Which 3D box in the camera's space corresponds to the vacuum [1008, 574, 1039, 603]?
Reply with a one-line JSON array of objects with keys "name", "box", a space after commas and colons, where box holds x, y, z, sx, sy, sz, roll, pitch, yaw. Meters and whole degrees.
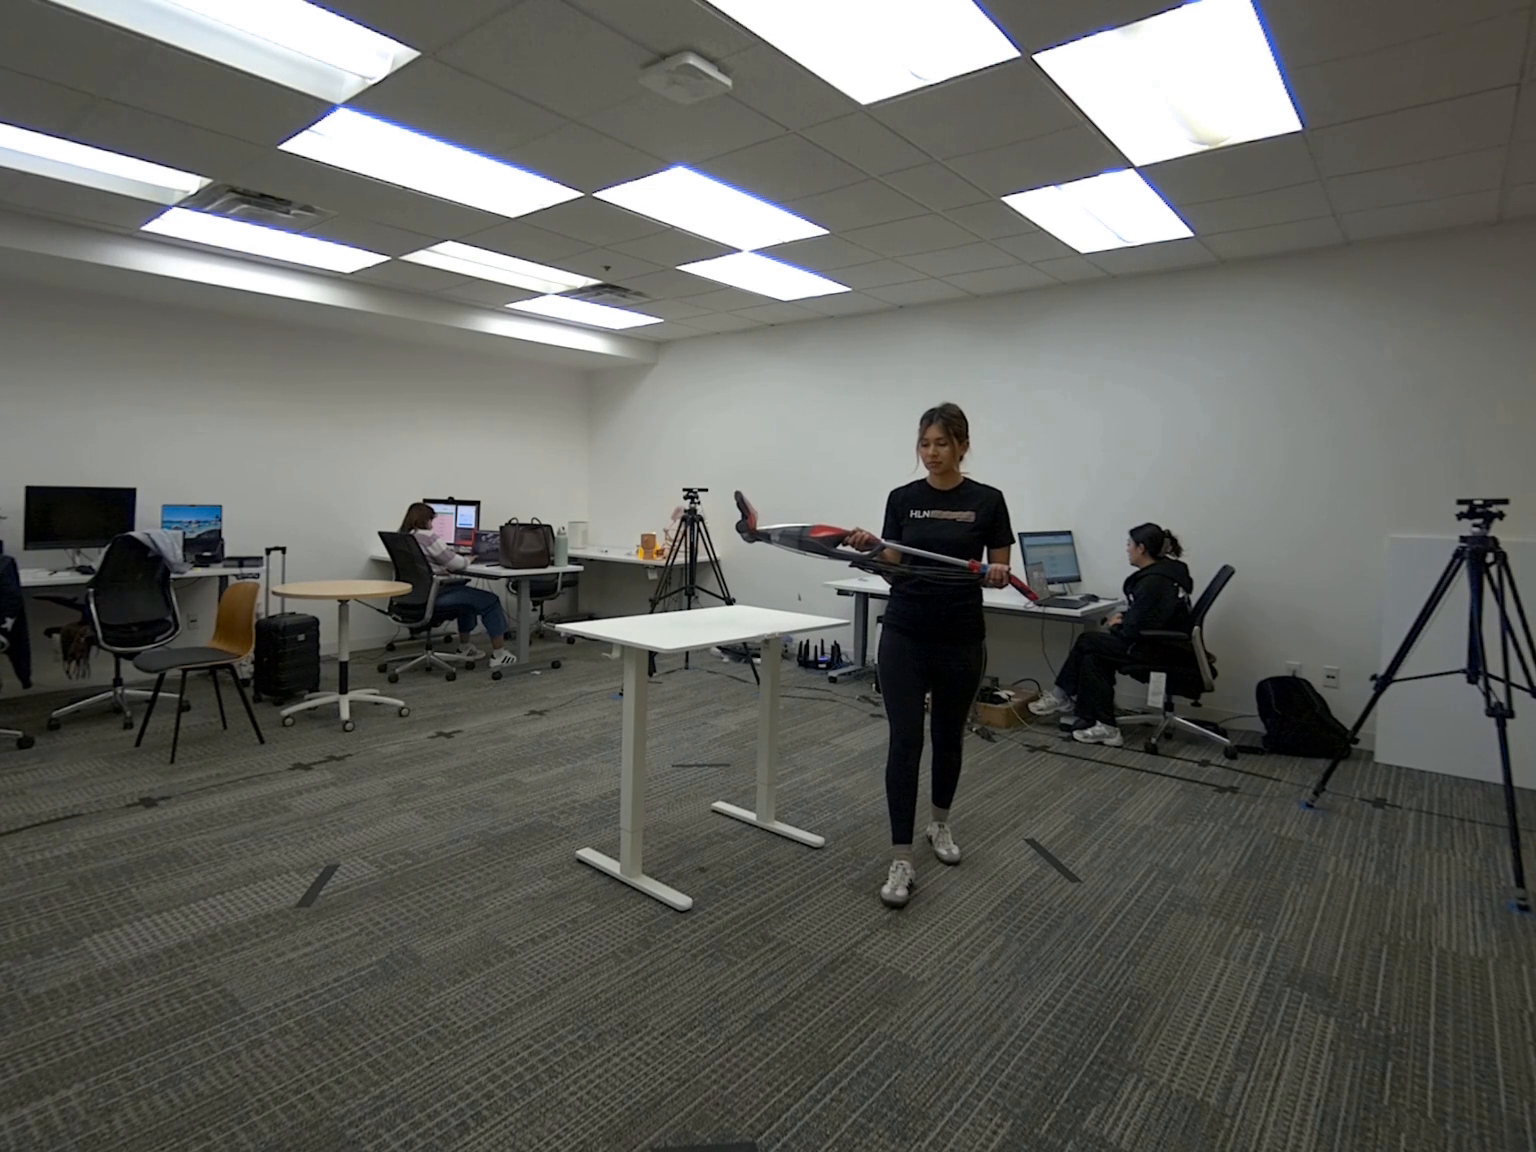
[{"name": "vacuum", "box": [0.354, -0.077, 2.923, 1.079, 0.144, 0.244, 17, -8, 22]}]
